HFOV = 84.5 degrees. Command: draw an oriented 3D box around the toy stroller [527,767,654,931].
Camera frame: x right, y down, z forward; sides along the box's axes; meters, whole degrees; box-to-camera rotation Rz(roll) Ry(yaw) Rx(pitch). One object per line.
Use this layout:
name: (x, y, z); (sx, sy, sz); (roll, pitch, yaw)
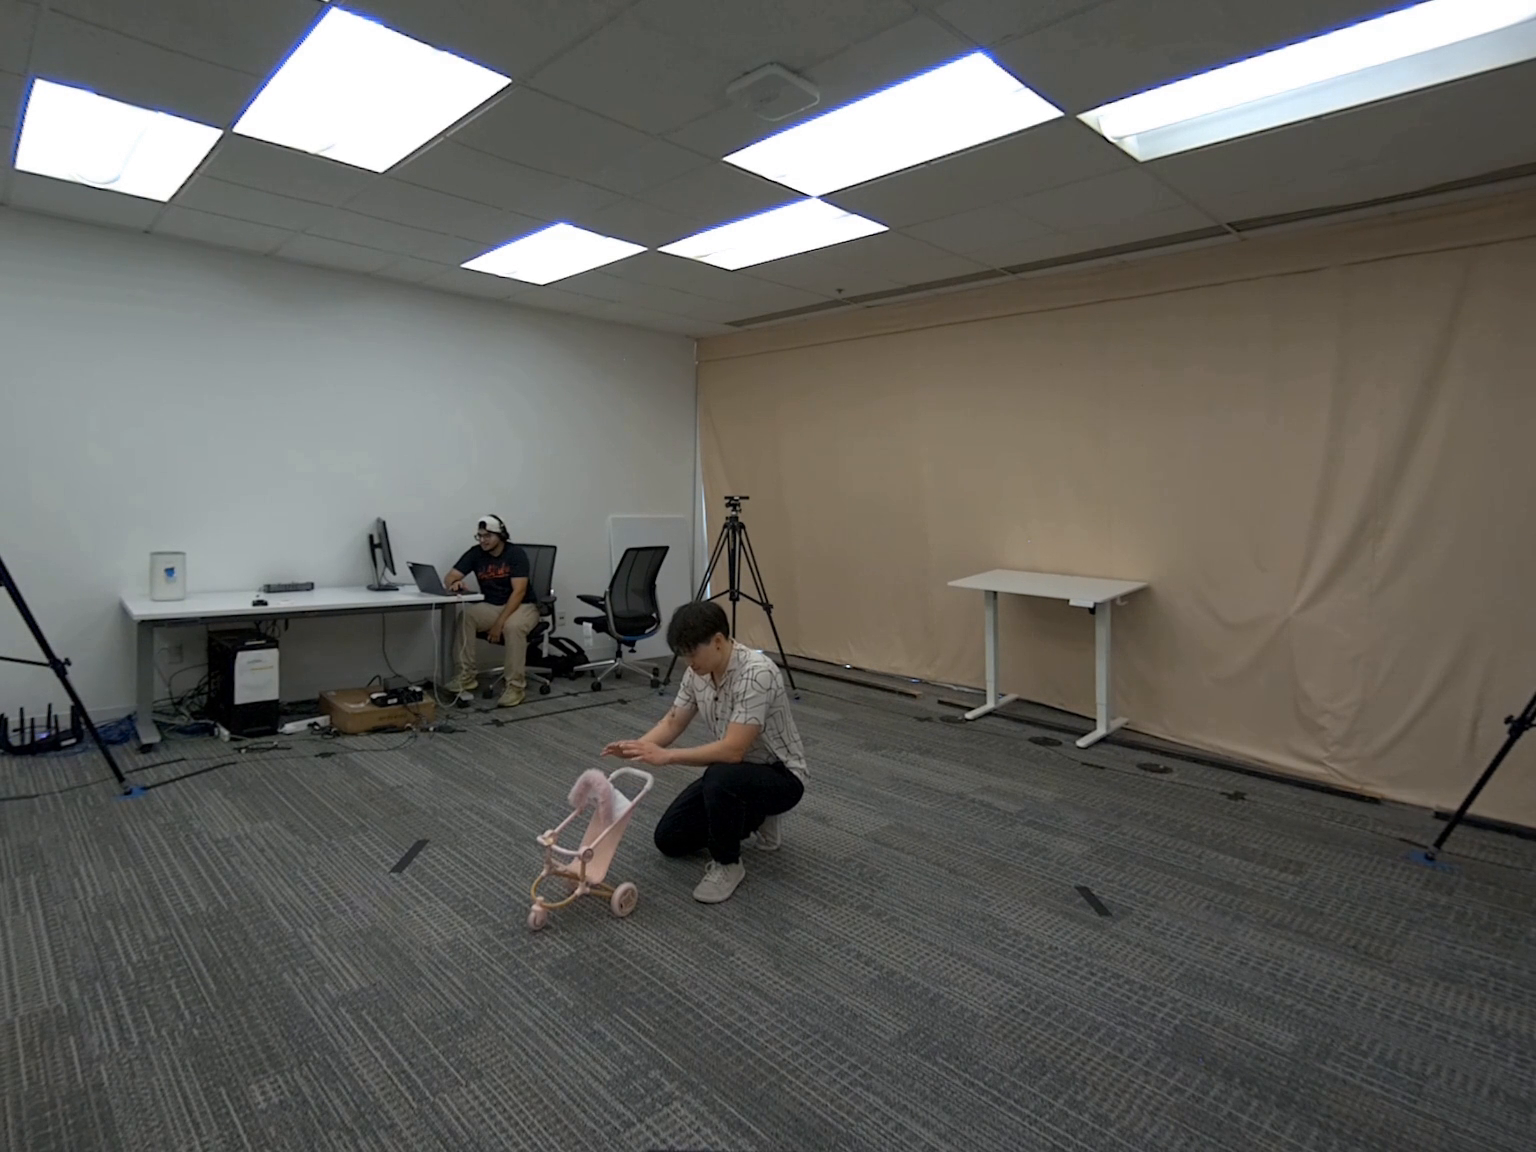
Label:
toy stroller: (-0.609, 0.897, 2.812); (0.288, 0.537, 0.331); (4, -13, 45)
